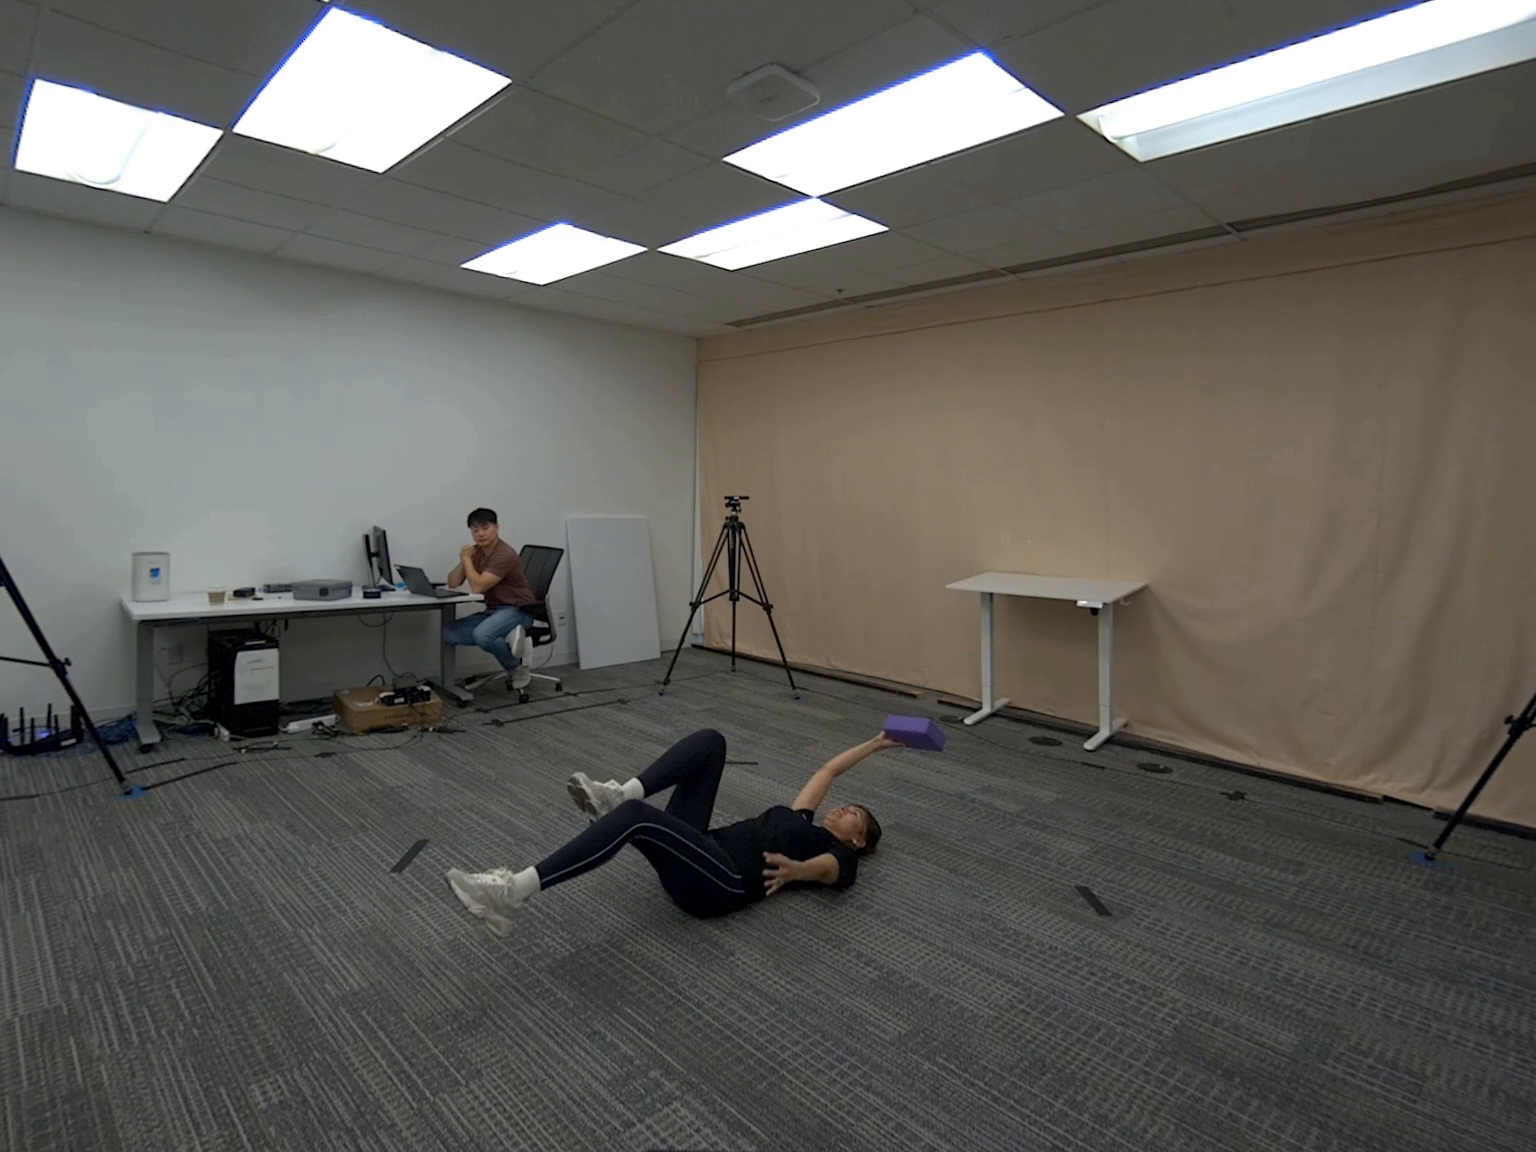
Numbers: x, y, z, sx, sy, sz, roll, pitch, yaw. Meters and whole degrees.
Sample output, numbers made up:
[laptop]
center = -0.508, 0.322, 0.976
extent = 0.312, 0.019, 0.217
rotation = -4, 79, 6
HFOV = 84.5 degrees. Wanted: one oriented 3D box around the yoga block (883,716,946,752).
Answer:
[yoga block]
center = 0.606, 0.654, 3.530
extent = 0.234, 0.077, 0.145
rotation = -7, -44, 50
